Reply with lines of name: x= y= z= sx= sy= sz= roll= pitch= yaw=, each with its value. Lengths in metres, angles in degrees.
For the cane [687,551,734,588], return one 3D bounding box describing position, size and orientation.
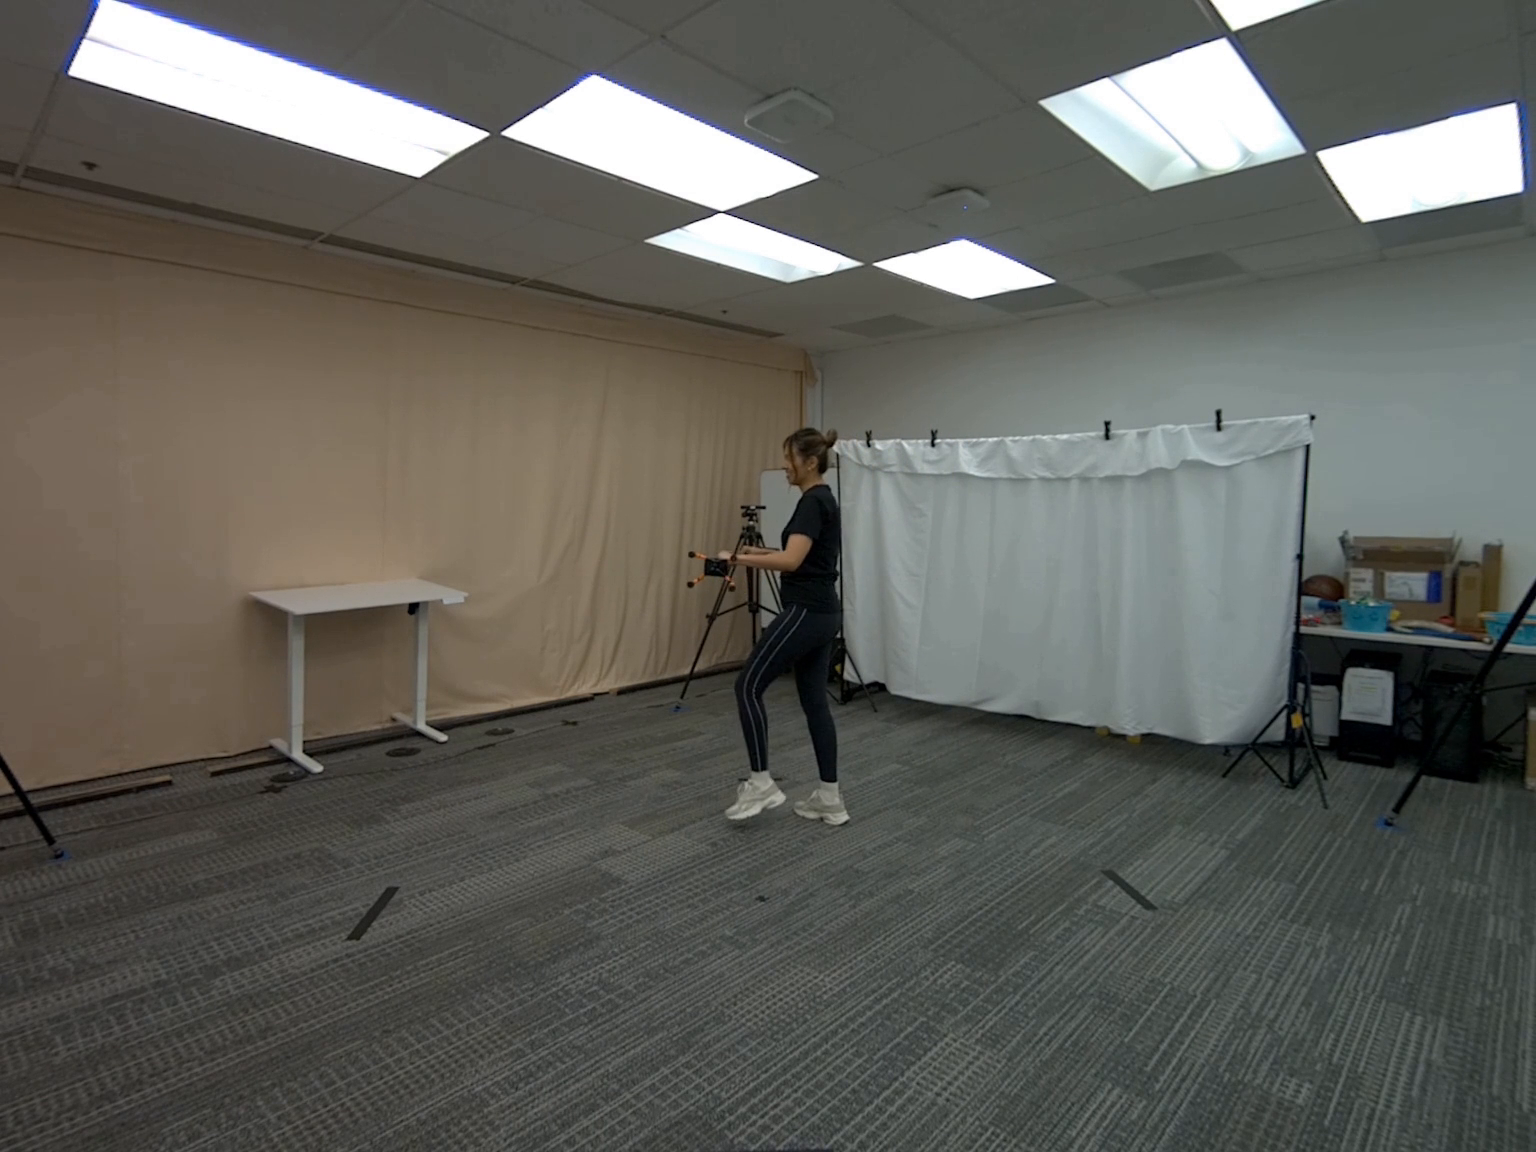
cane: x=-0.137 y=-0.070 z=3.841 sx=0.210 sy=0.151 sz=0.896 roll=6 pitch=8 yaw=13
